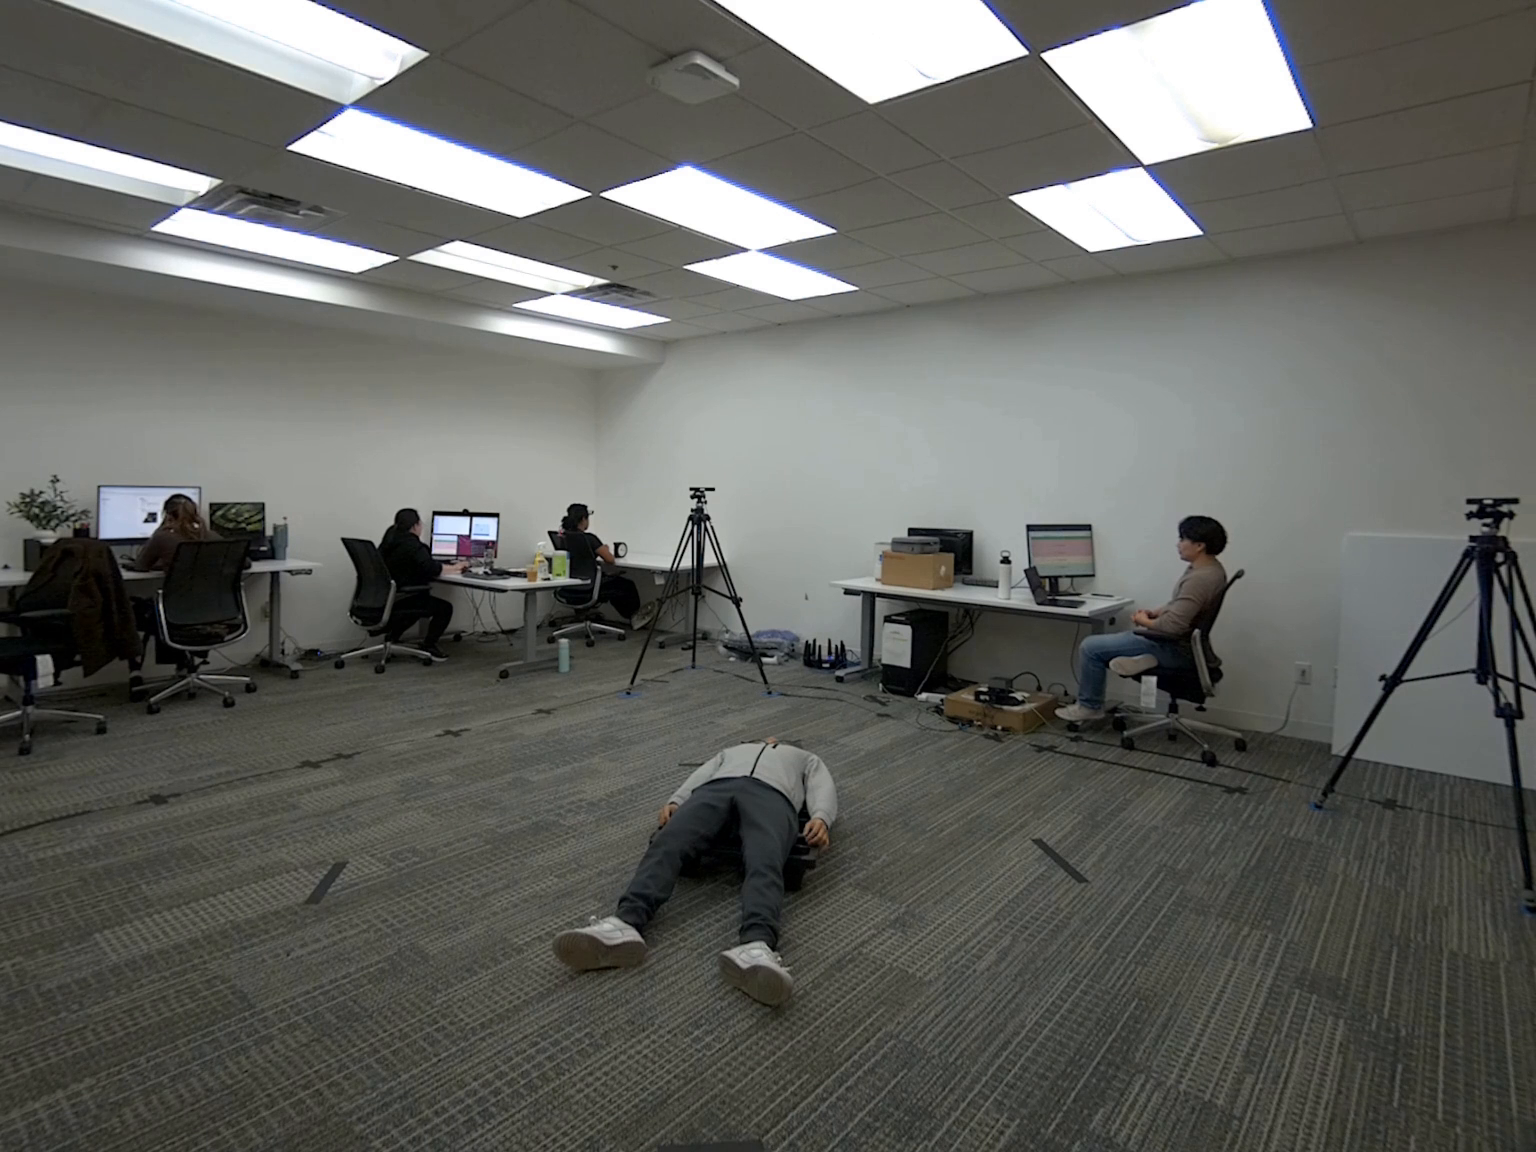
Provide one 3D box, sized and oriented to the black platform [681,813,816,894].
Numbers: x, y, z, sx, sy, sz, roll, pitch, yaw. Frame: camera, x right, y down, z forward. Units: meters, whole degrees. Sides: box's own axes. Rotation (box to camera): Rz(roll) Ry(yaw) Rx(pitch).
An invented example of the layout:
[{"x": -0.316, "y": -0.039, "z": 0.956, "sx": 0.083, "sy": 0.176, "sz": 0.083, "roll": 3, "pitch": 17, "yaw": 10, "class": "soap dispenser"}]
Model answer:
[{"x": -0.076, "y": 0.966, "z": 3.356, "sx": 0.614, "sy": 0.143, "sz": 0.796, "roll": 0, "pitch": 4, "yaw": 12, "class": "black platform"}]
